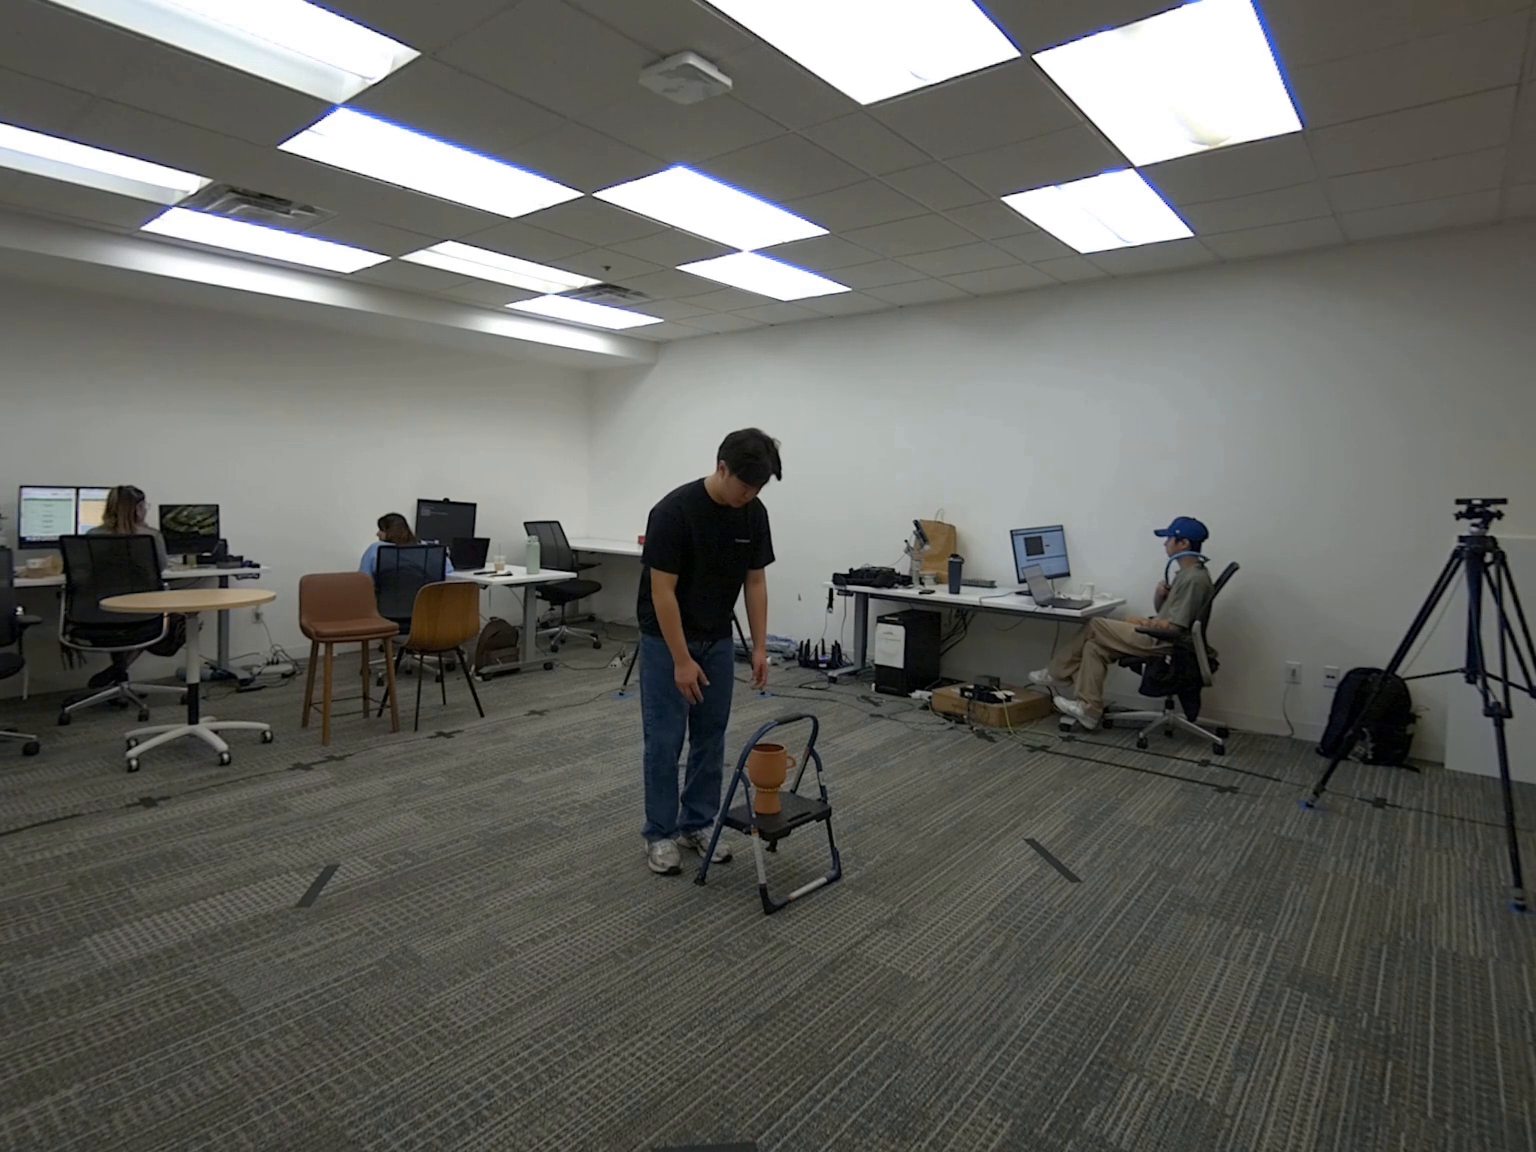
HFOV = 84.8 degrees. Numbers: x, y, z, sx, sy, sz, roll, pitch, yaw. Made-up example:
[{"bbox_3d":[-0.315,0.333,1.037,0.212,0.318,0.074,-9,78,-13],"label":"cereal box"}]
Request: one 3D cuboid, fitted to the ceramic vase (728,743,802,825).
[{"bbox_3d":[-0.006,0.712,2.999,0.164,0.219,0.130,2,2,39],"label":"ceramic vase"}]
